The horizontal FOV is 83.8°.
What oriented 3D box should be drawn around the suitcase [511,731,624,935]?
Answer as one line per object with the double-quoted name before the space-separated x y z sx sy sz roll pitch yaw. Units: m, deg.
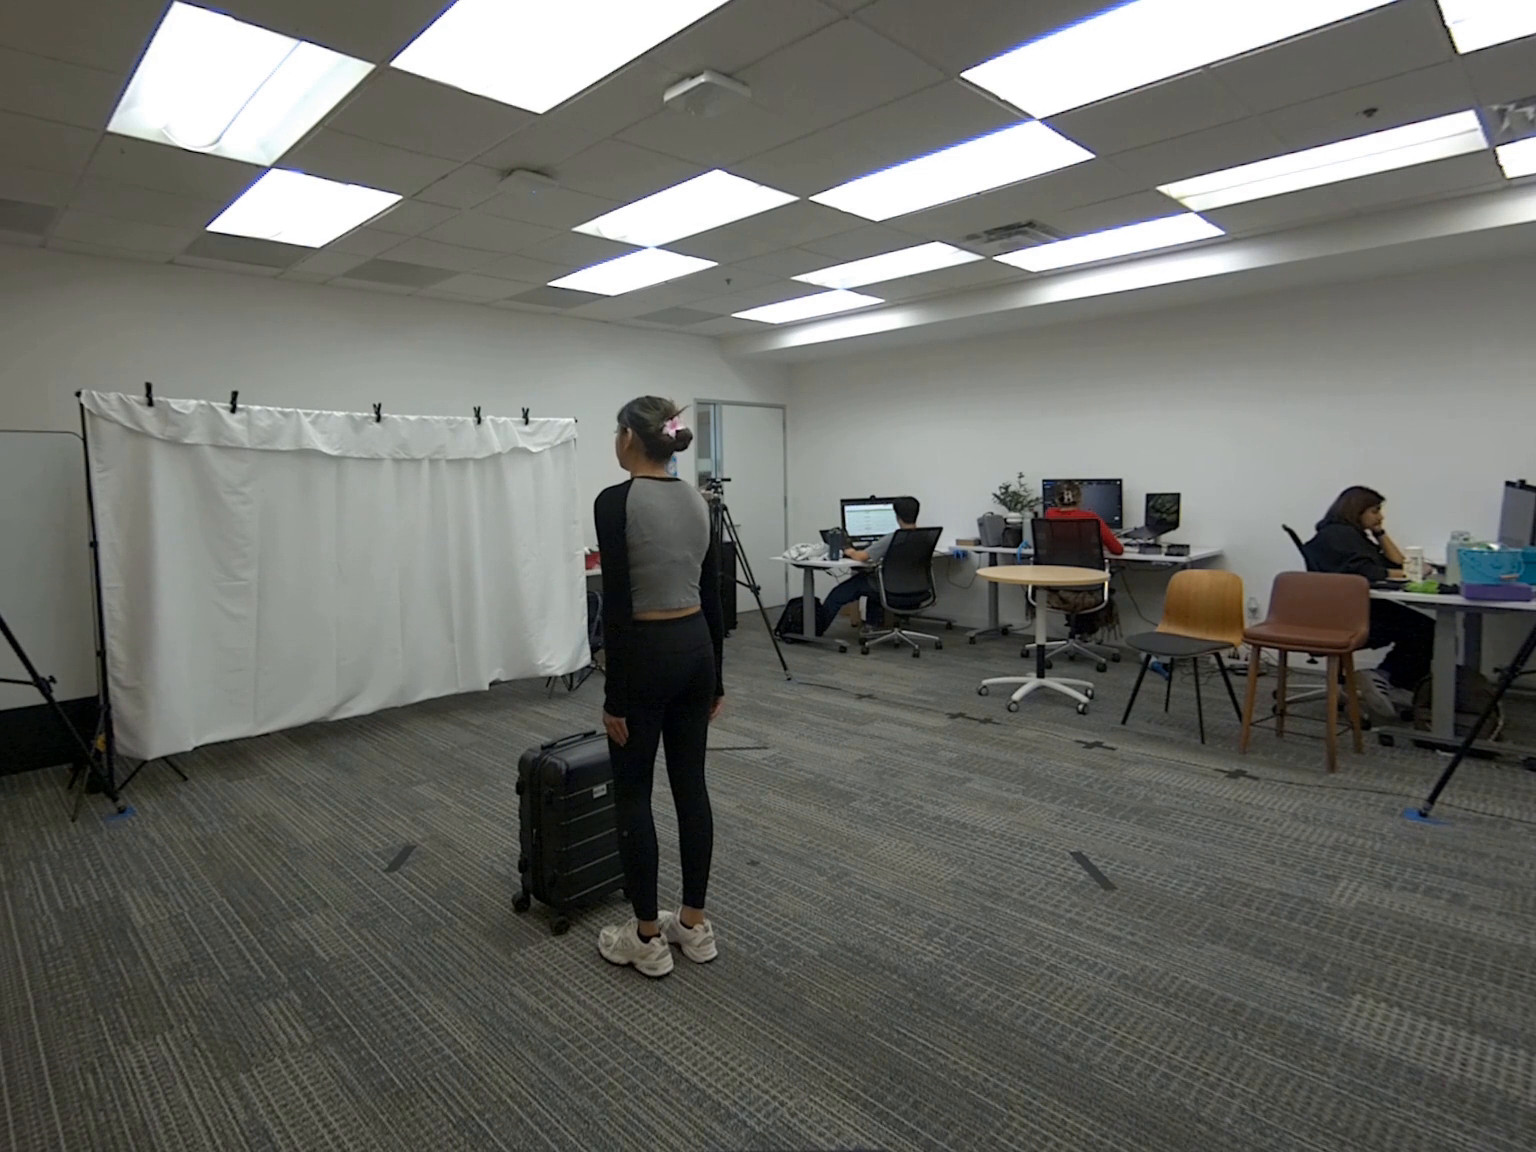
"suitcase" -0.621 0.810 2.827 0.256 0.548 0.365 3 5 42
